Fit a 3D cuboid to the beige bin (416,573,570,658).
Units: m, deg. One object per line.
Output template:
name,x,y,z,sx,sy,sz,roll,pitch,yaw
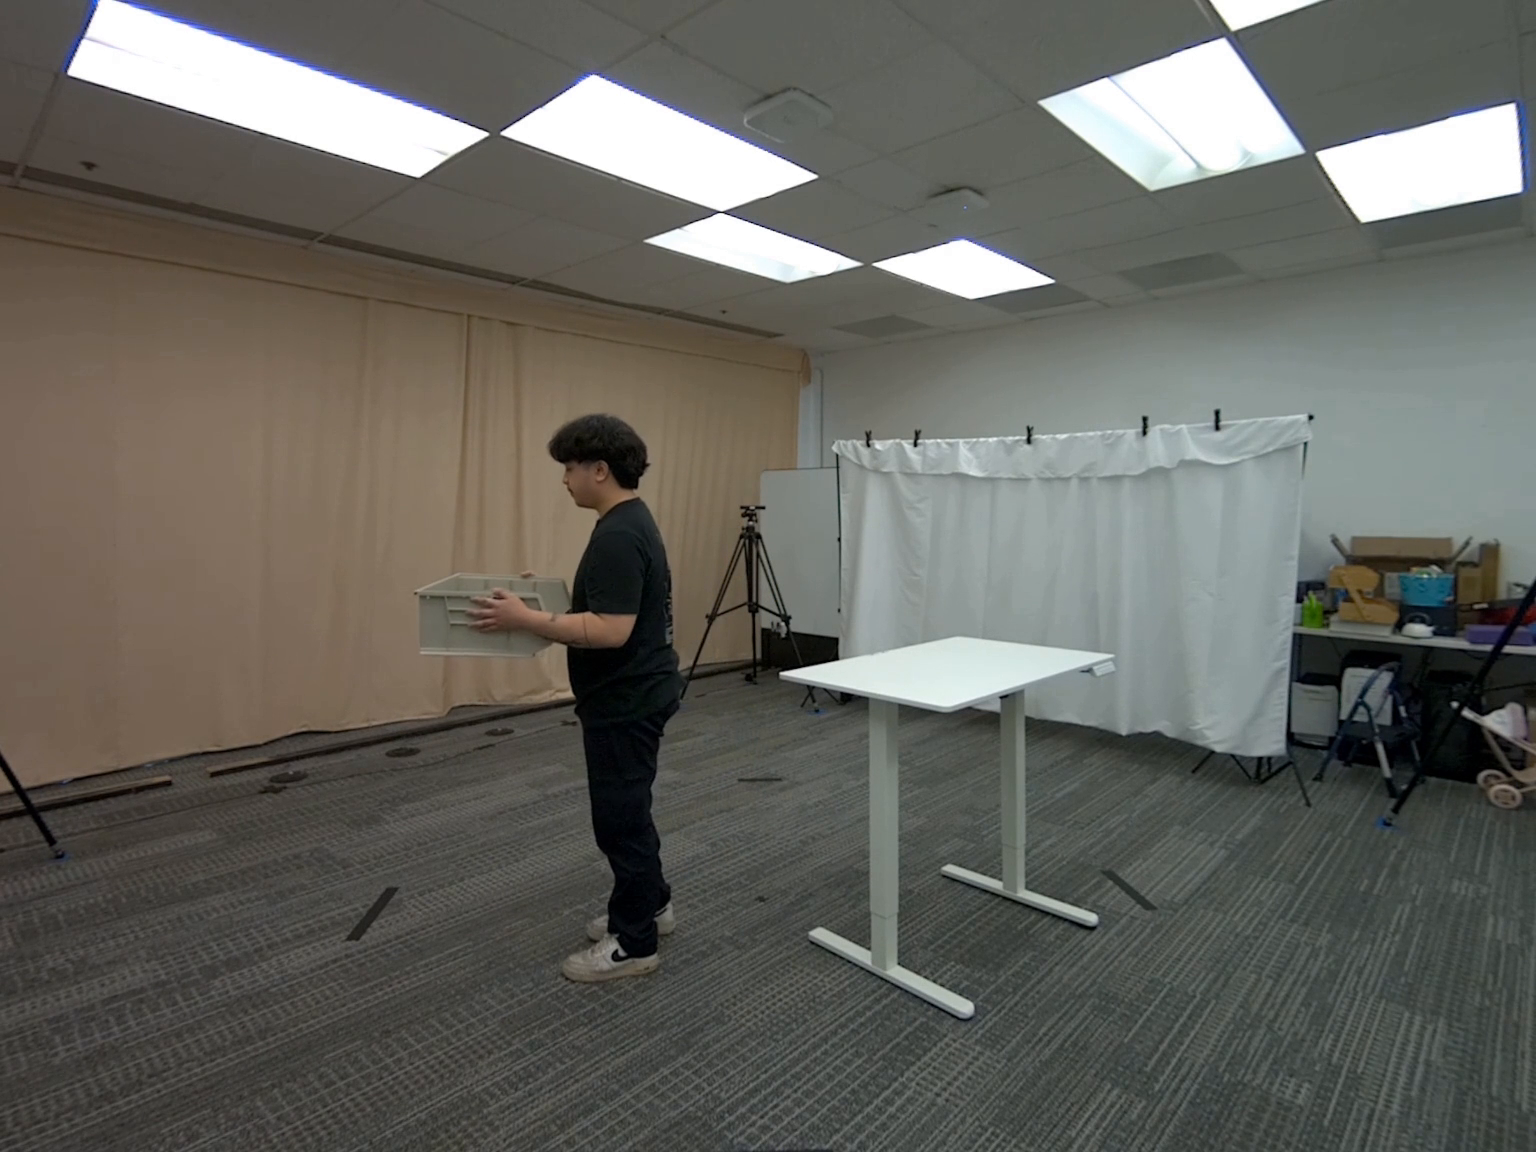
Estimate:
beige bin,-0.800,0.123,2.517,0.376,0.188,0.425,1,6,-4
